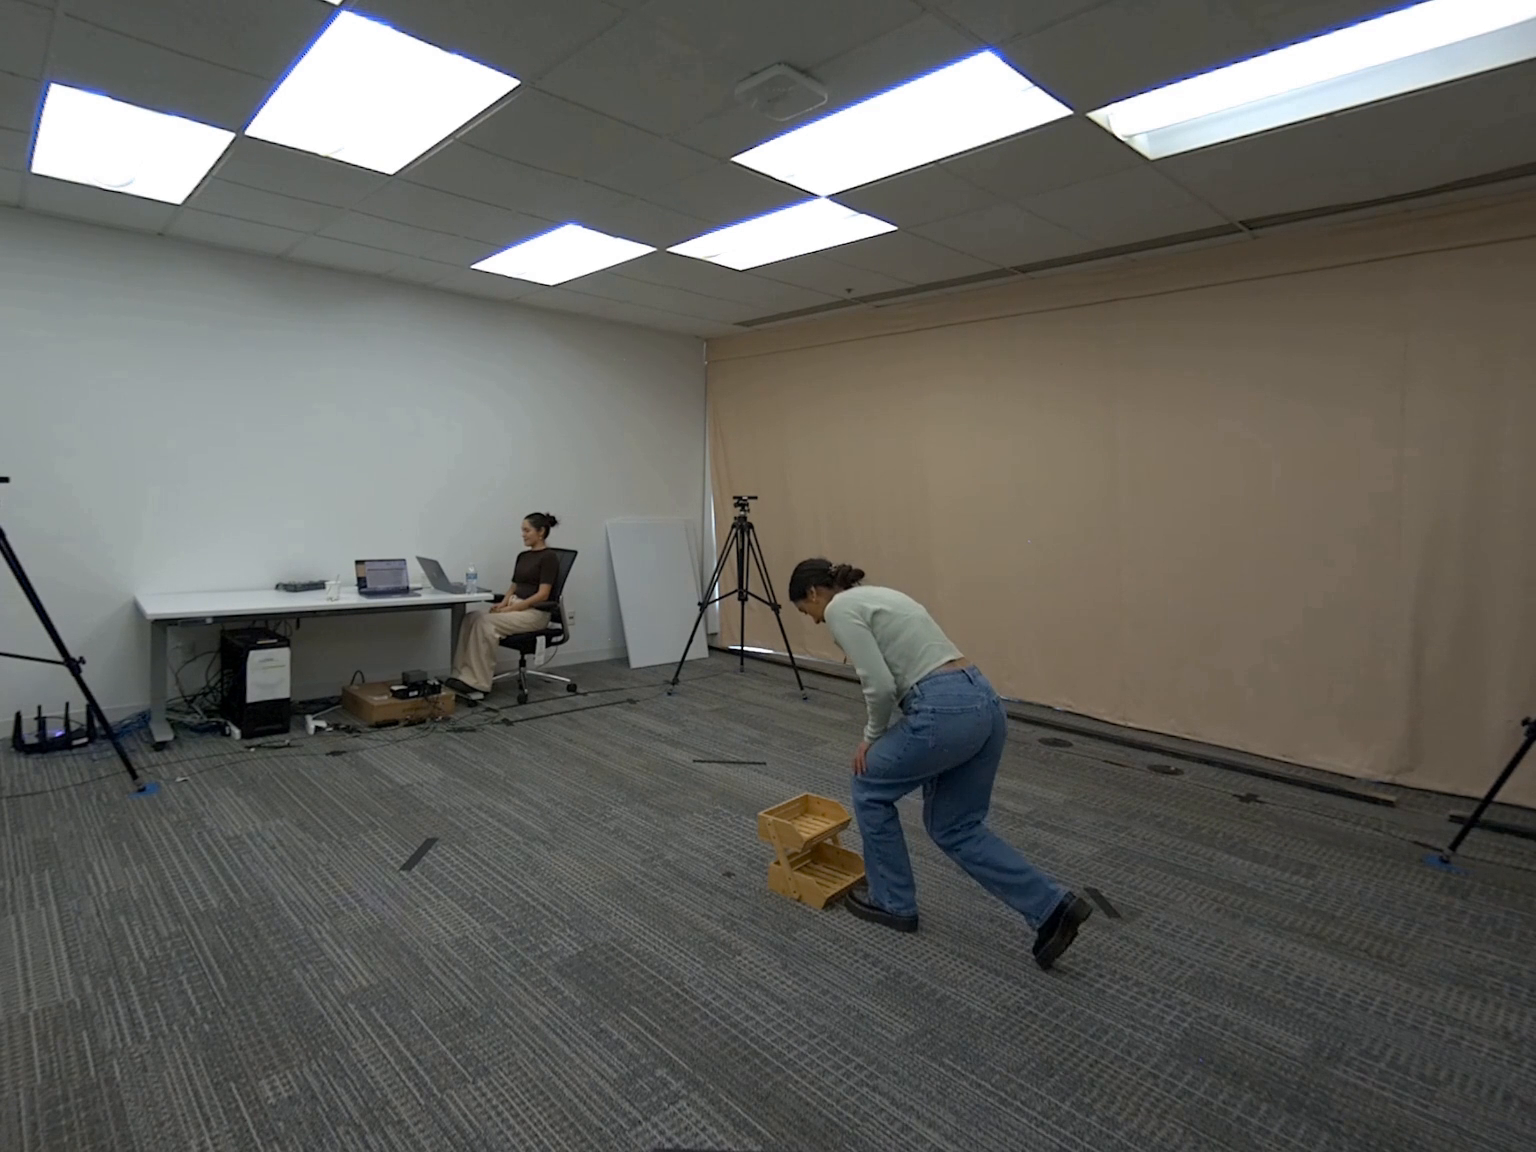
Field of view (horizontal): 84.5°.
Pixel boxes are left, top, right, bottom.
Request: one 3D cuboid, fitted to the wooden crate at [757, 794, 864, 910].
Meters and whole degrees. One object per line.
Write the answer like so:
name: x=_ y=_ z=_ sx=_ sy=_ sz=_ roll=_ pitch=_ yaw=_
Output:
wooden crate: x=0.166 y=0.981 z=3.043 sx=0.309 sy=0.272 sz=0.317 roll=4 pitch=5 yaw=39
